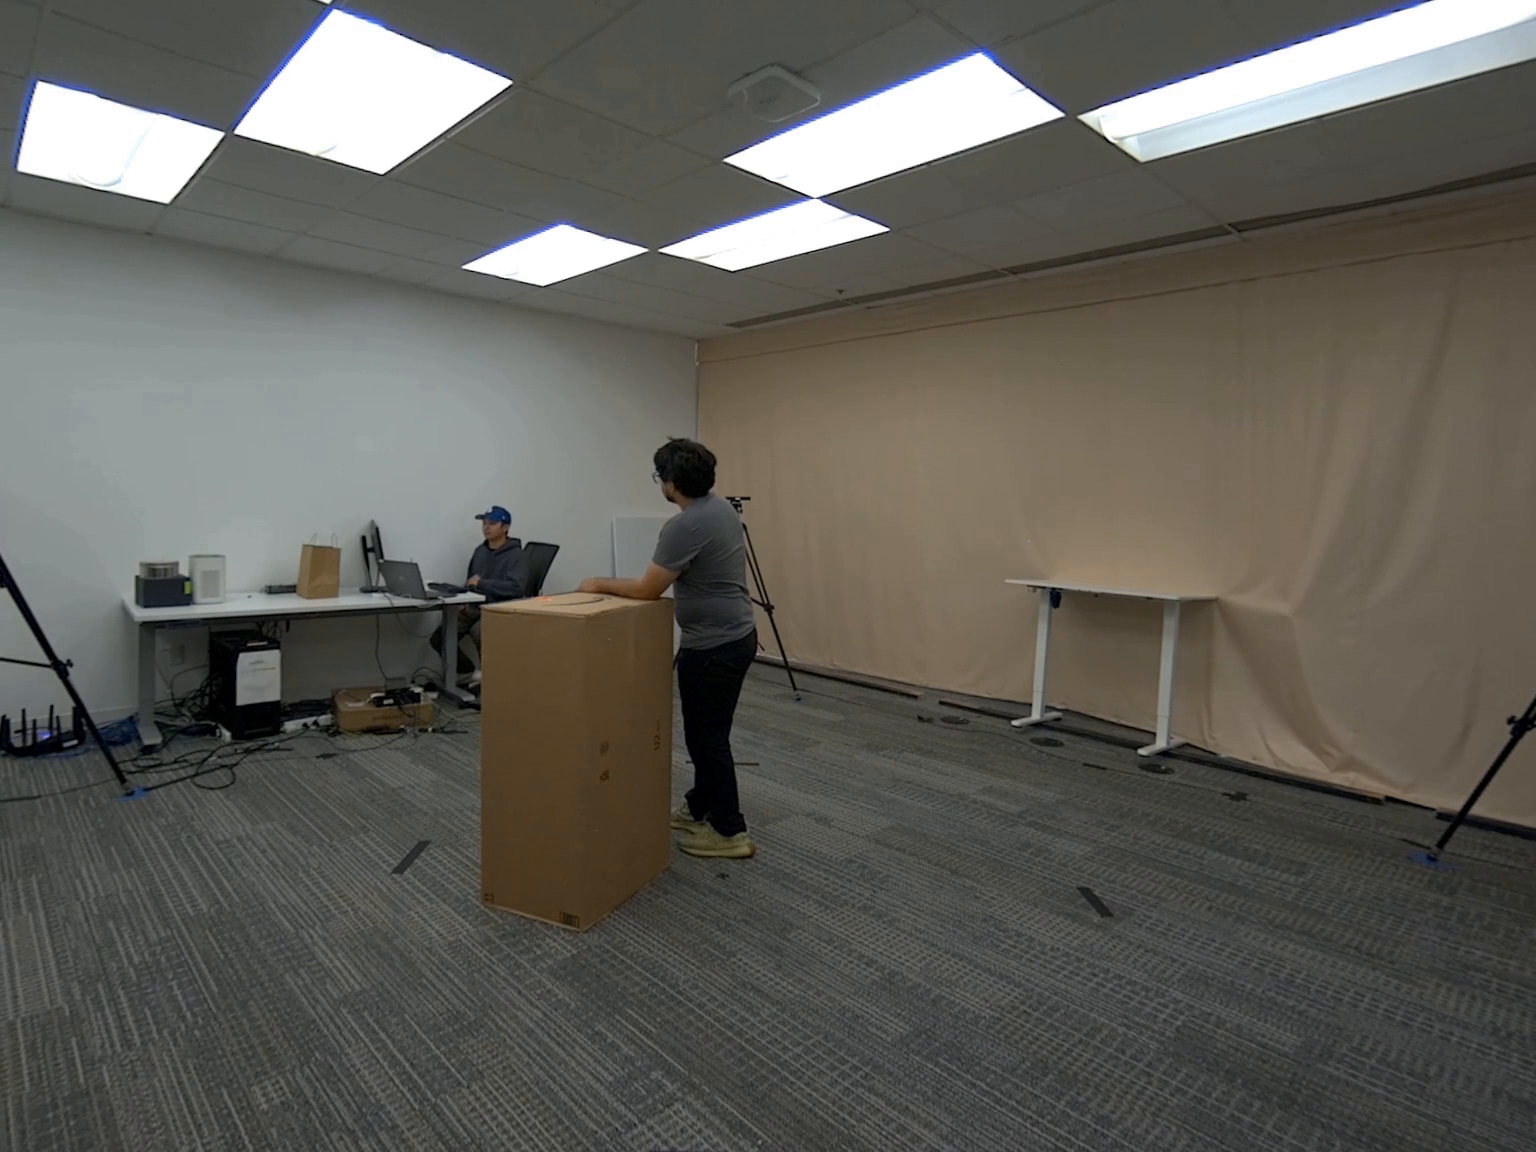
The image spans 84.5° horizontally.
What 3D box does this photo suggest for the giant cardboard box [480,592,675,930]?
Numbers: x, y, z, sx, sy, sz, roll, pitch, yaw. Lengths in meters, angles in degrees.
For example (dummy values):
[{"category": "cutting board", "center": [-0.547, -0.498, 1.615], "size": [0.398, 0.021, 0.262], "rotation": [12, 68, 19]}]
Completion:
[{"category": "giant cardboard box", "center": [-0.672, 0.599, 2.988], "size": [0.434, 1.023, 0.568], "rotation": [3, 4, 25]}]
